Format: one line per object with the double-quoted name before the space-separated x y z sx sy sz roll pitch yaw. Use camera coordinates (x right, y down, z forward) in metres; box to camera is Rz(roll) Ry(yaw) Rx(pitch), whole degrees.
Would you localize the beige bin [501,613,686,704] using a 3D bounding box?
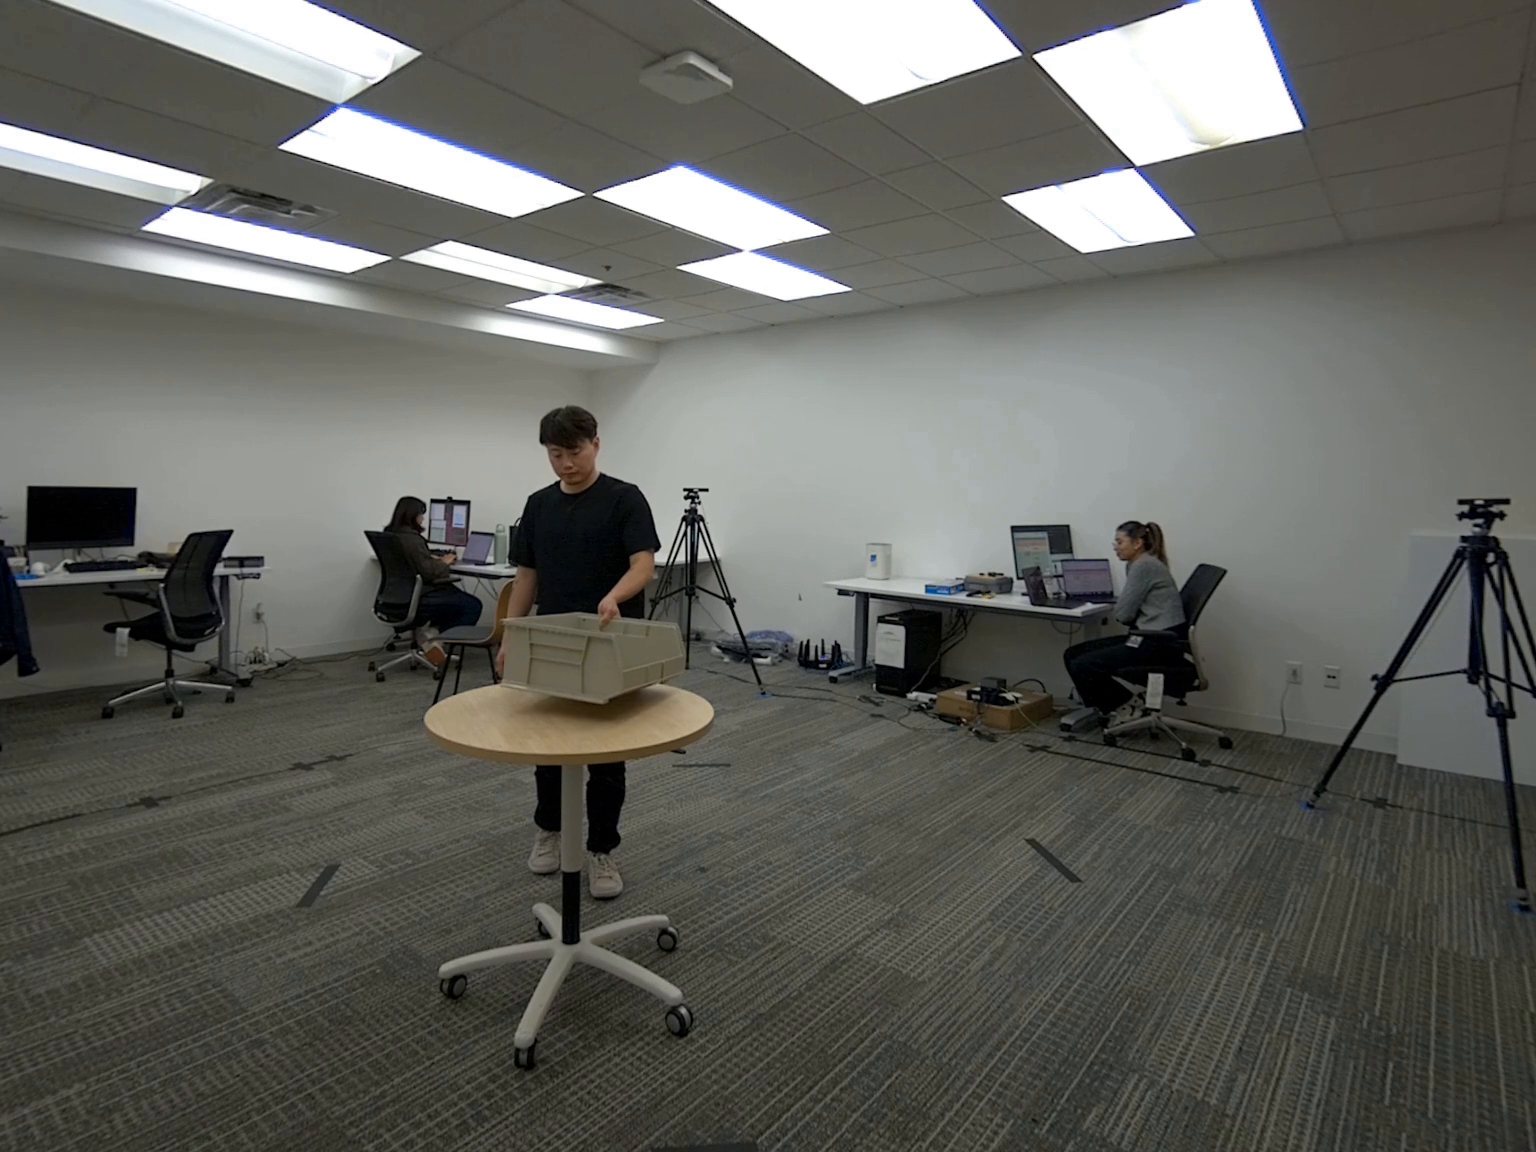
"beige bin" -0.484 0.223 2.402 0.384 0.189 0.415 3 3 16
